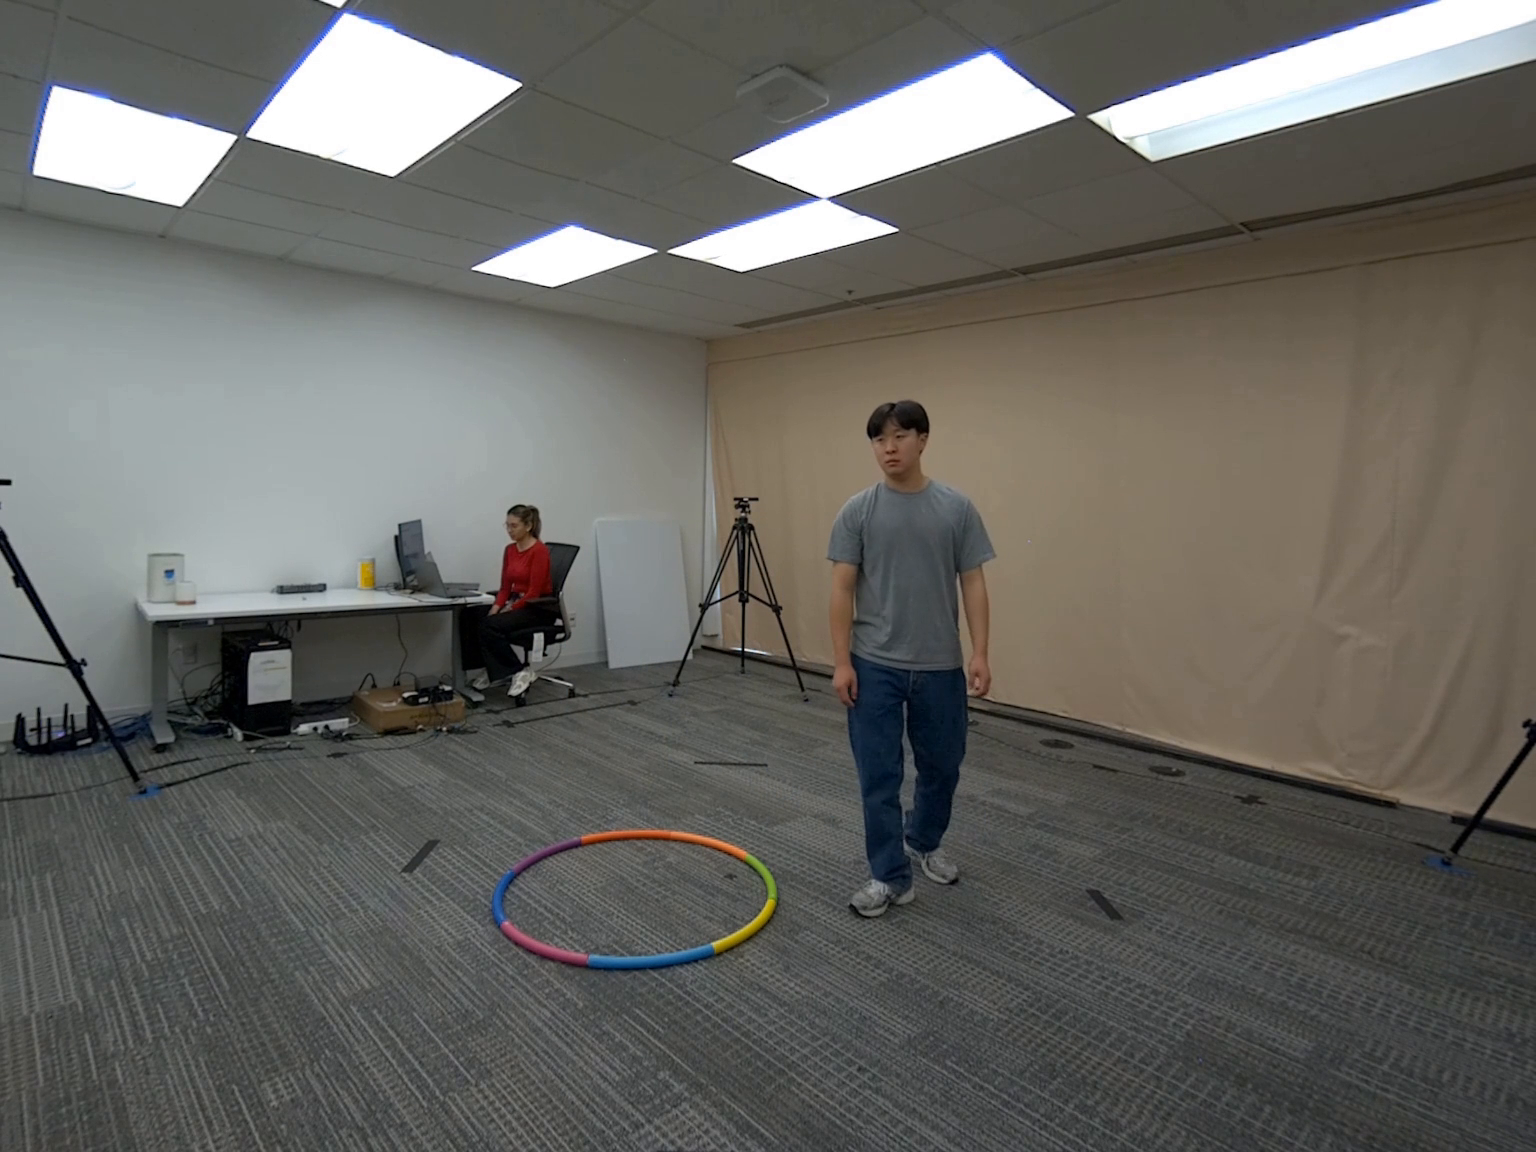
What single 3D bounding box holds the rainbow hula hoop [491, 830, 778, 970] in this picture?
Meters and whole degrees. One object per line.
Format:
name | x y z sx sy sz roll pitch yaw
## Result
rainbow hula hoop | -0.464 1.081 2.958 0.978 0.035 0.982 1 5 -1
